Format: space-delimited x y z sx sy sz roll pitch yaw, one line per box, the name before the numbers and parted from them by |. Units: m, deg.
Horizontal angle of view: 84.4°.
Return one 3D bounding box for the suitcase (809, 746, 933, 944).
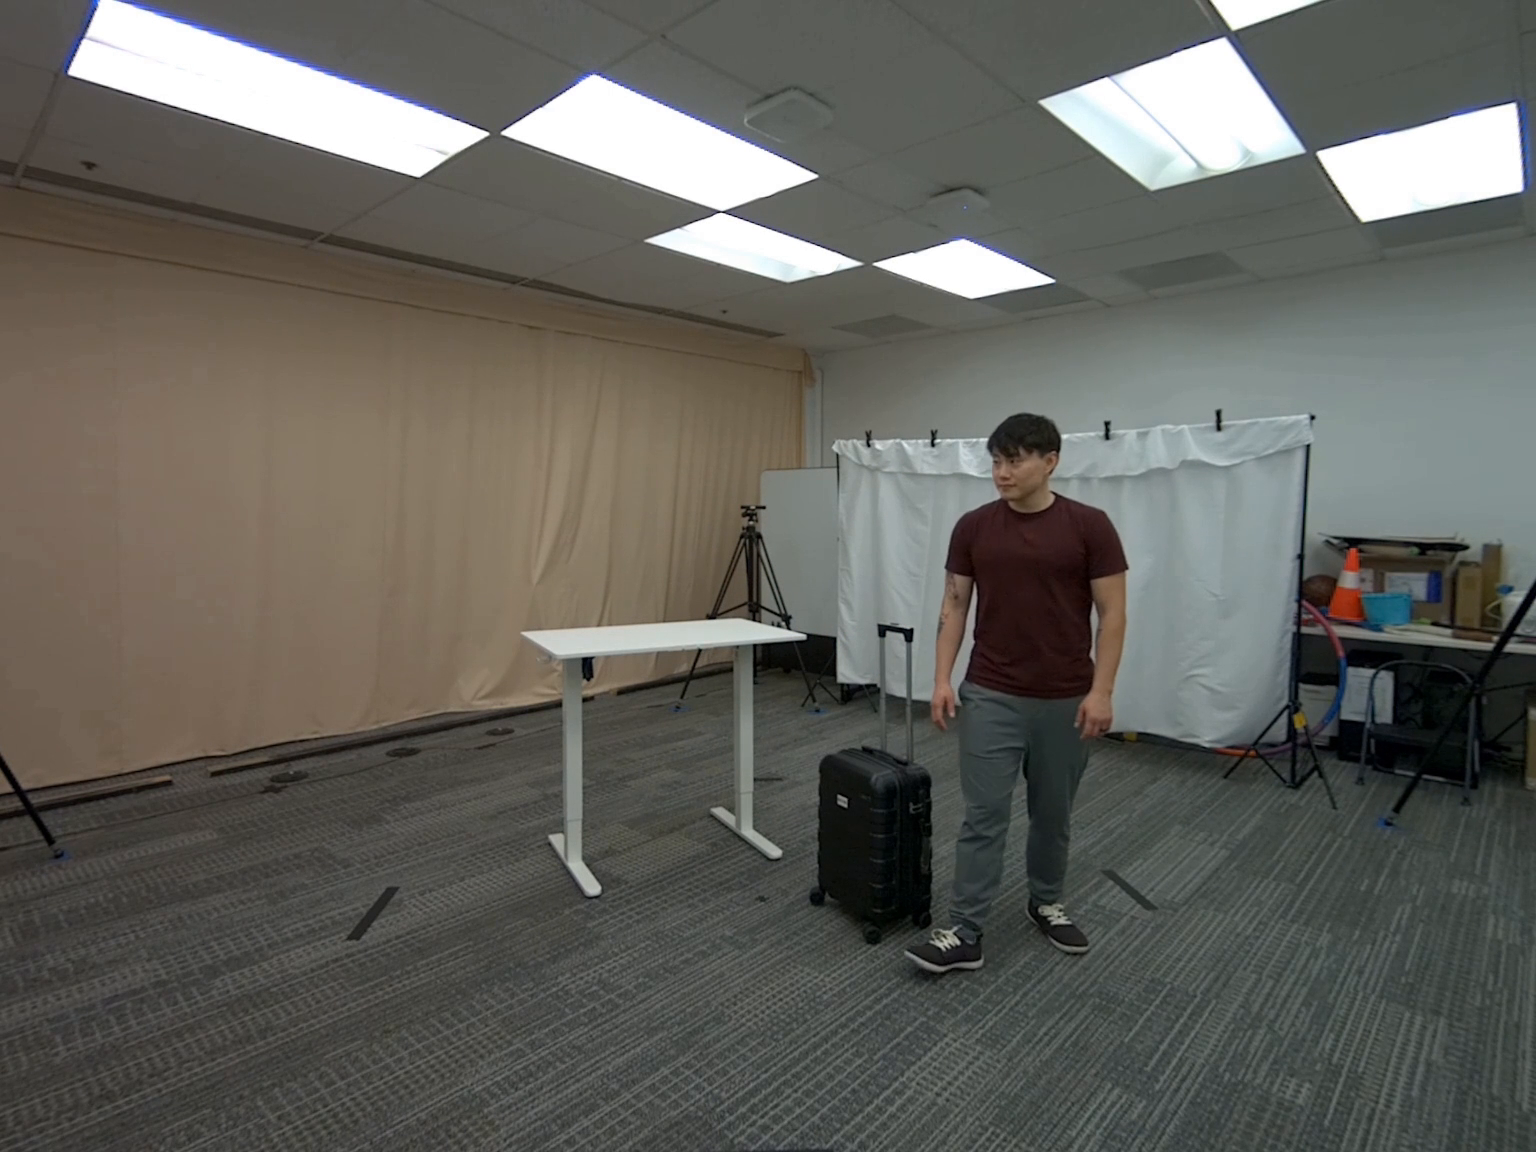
suitcase | 0.361 0.676 2.846 0.250 0.977 0.395 -2 3 -29
